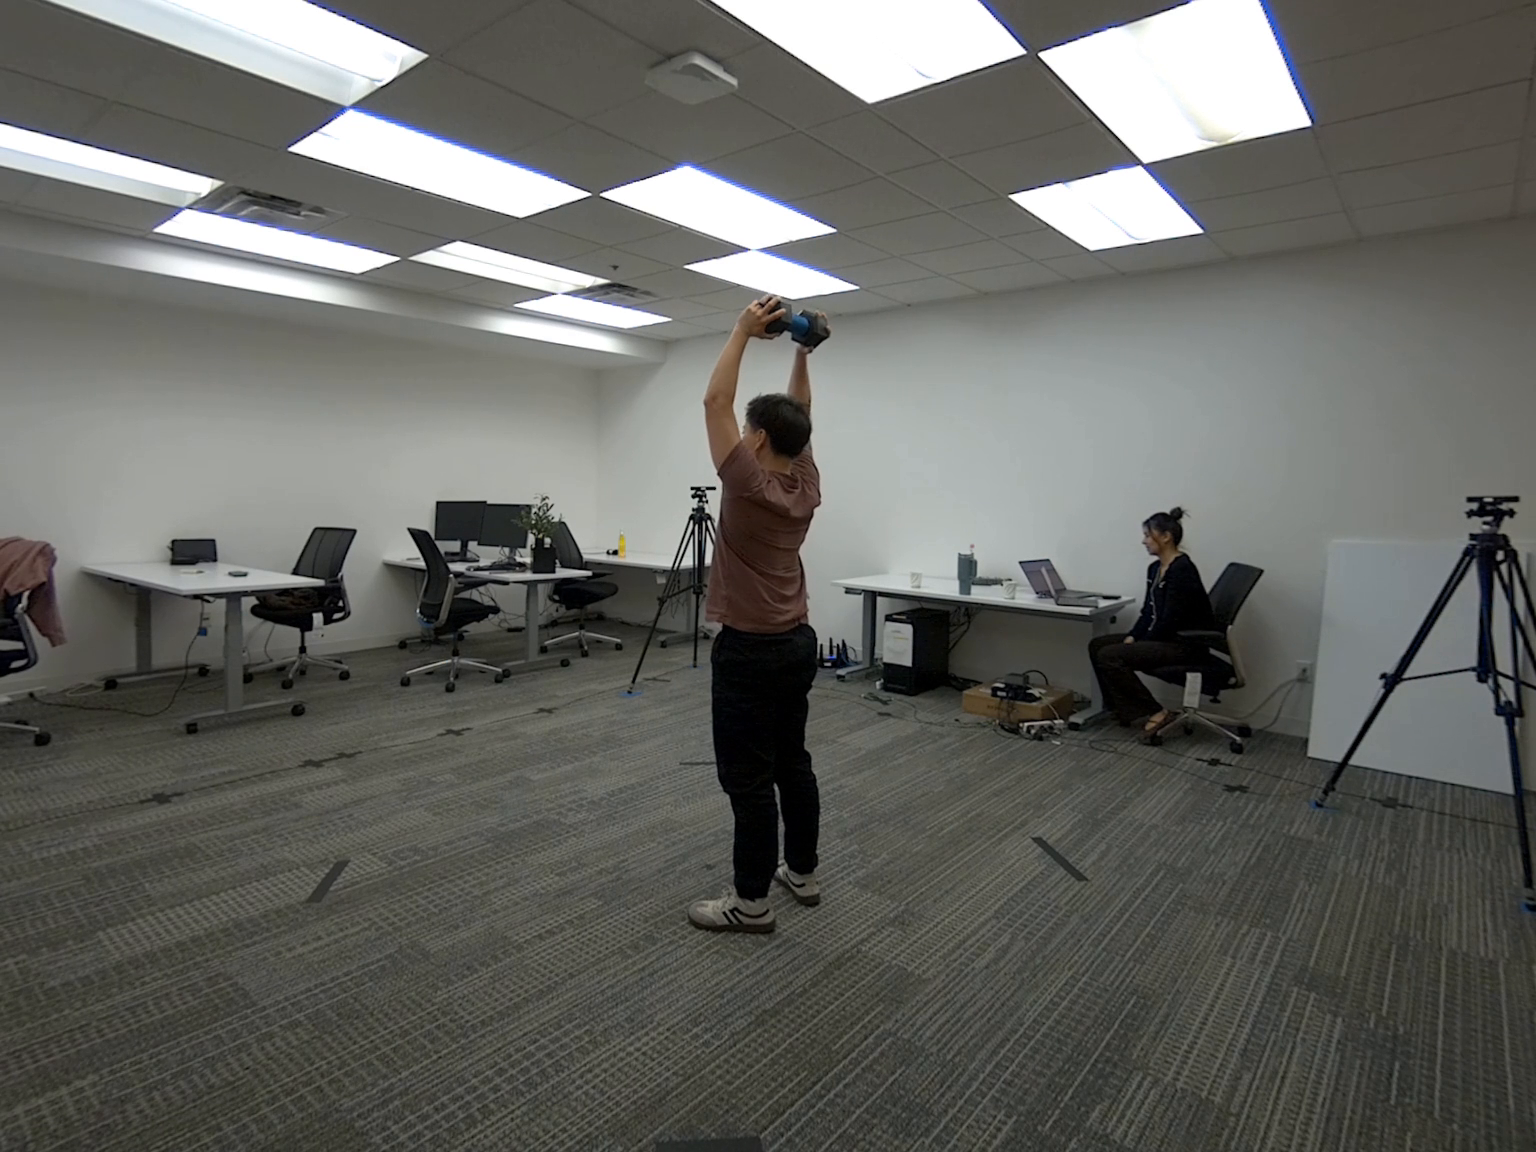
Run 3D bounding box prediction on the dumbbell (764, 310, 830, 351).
[{"bbox_3d":[0.061,-0.814,2.743,0.123,0.111,0.284,-40,-22,32],"label":"dumbbell"}]
